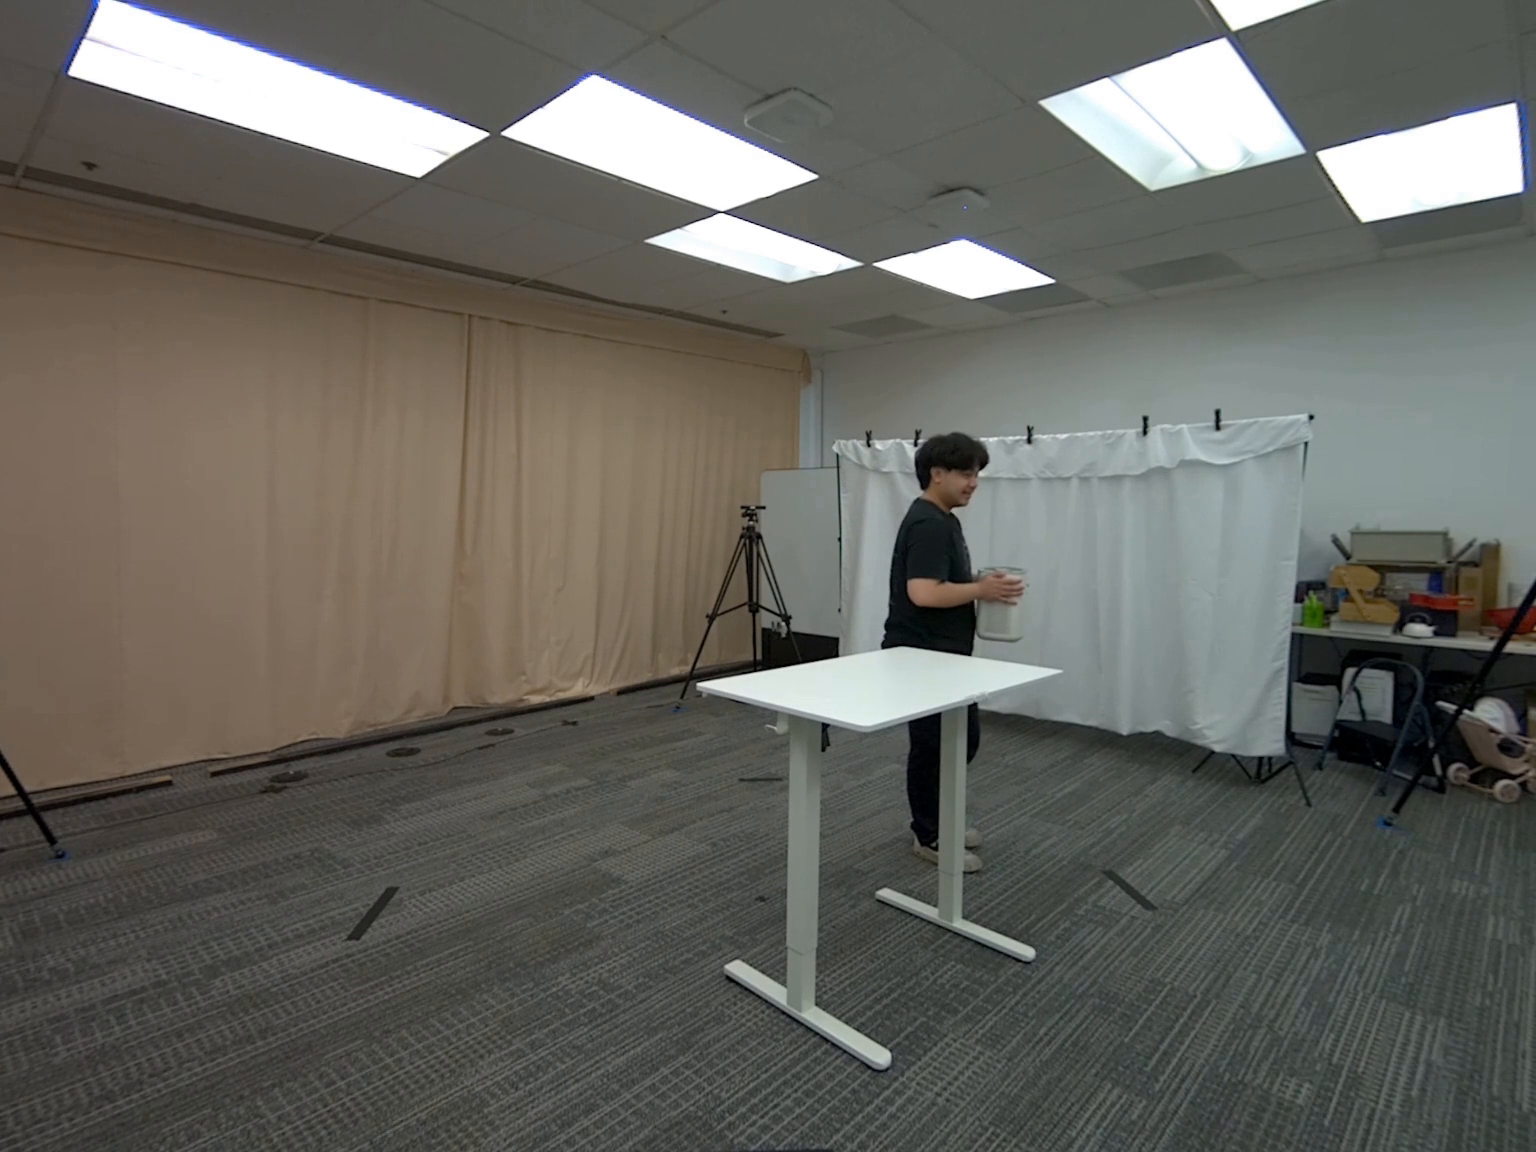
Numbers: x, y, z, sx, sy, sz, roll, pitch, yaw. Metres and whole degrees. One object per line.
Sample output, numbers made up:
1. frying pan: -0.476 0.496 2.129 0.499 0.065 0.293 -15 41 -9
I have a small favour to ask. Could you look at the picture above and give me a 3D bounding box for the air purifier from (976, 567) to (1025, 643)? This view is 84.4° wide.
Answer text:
1. air purifier: 0.884 0.108 3.182 0.176 0.264 0.167 4 6 26
